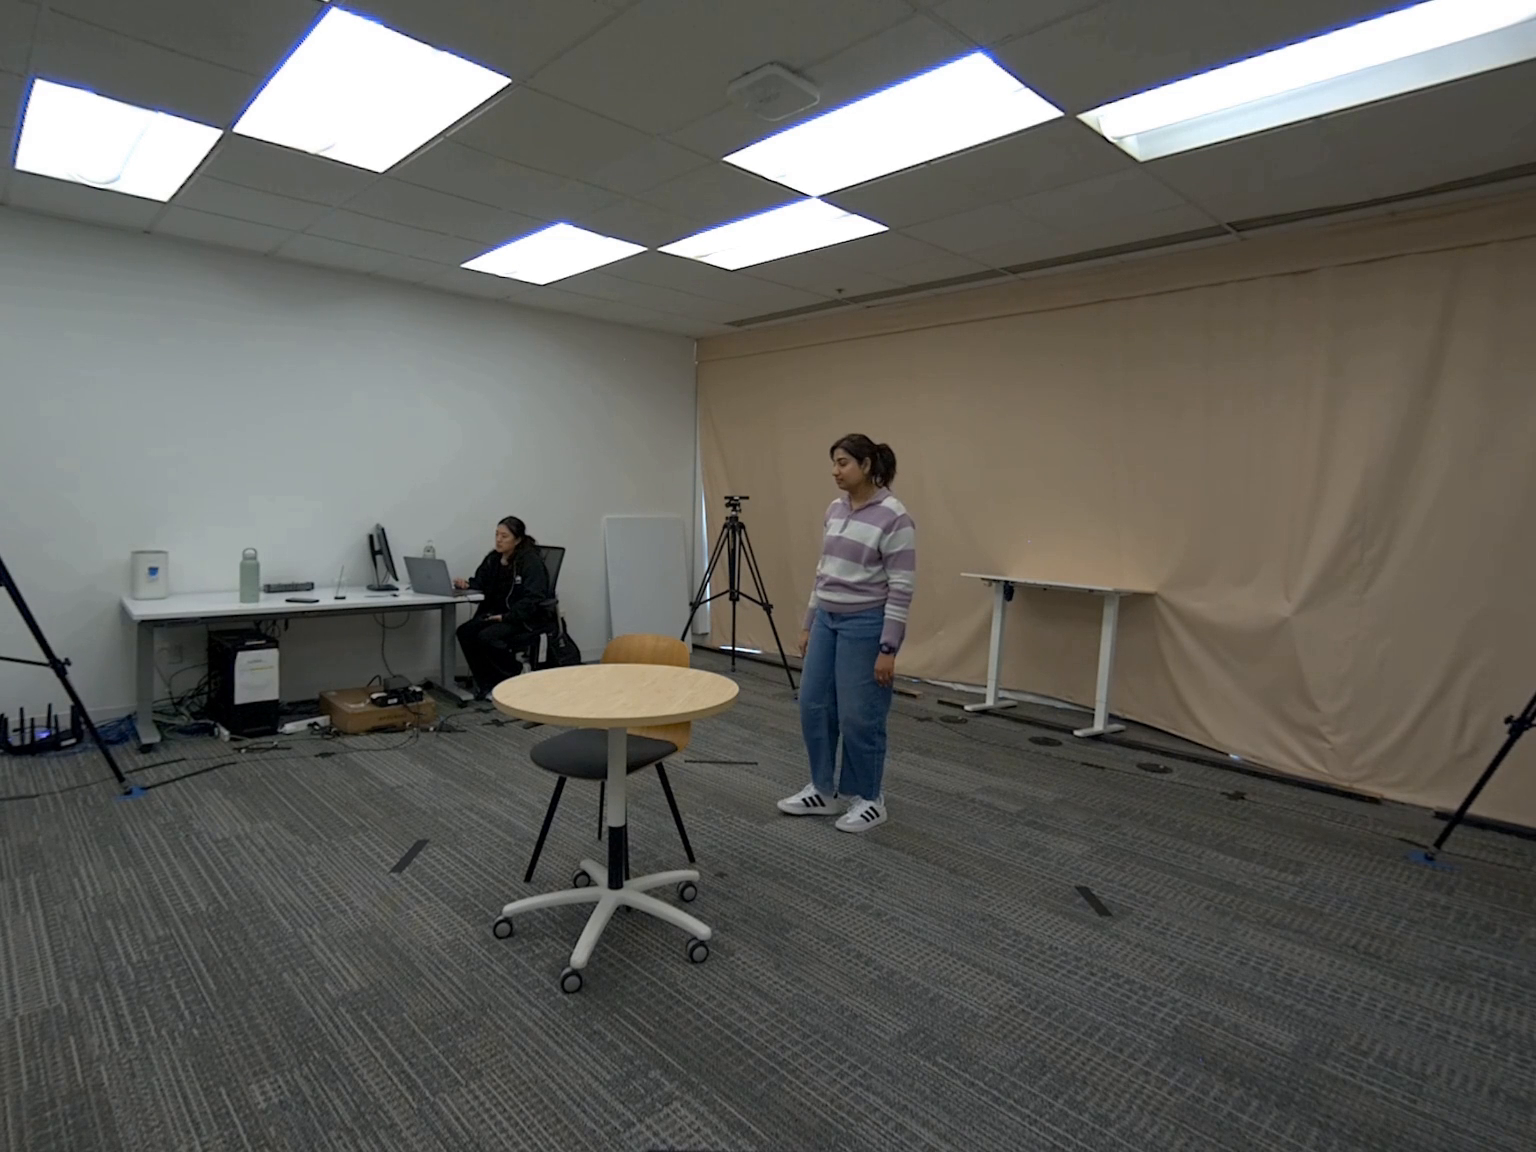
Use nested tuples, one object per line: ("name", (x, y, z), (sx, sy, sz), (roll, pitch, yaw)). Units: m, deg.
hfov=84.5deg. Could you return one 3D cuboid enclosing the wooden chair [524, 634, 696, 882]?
("wooden chair", (-0.566, 0.673, 3.068), (0.488, 0.877, 0.512), (3, 0, 26))
